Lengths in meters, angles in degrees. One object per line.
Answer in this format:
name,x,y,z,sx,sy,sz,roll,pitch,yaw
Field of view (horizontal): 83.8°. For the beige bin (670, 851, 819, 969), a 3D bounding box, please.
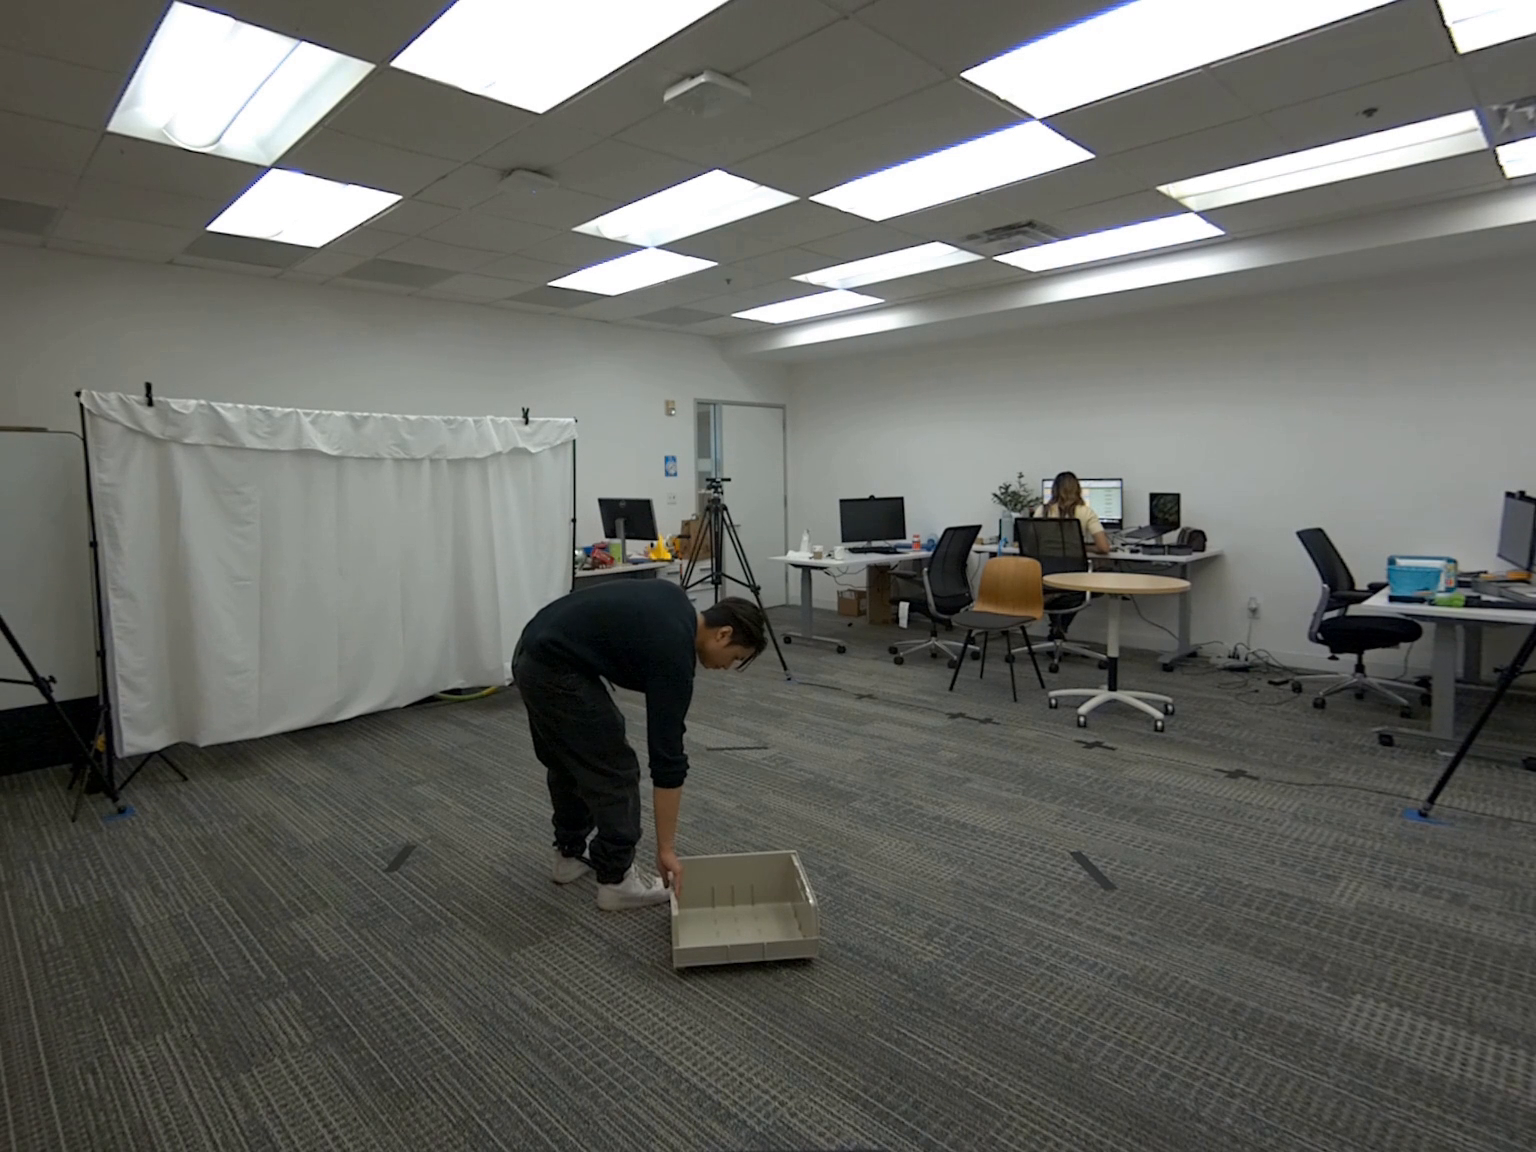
beige bin,-0.082,1.038,2.583,0.420,0.188,0.380,-2,3,-7
